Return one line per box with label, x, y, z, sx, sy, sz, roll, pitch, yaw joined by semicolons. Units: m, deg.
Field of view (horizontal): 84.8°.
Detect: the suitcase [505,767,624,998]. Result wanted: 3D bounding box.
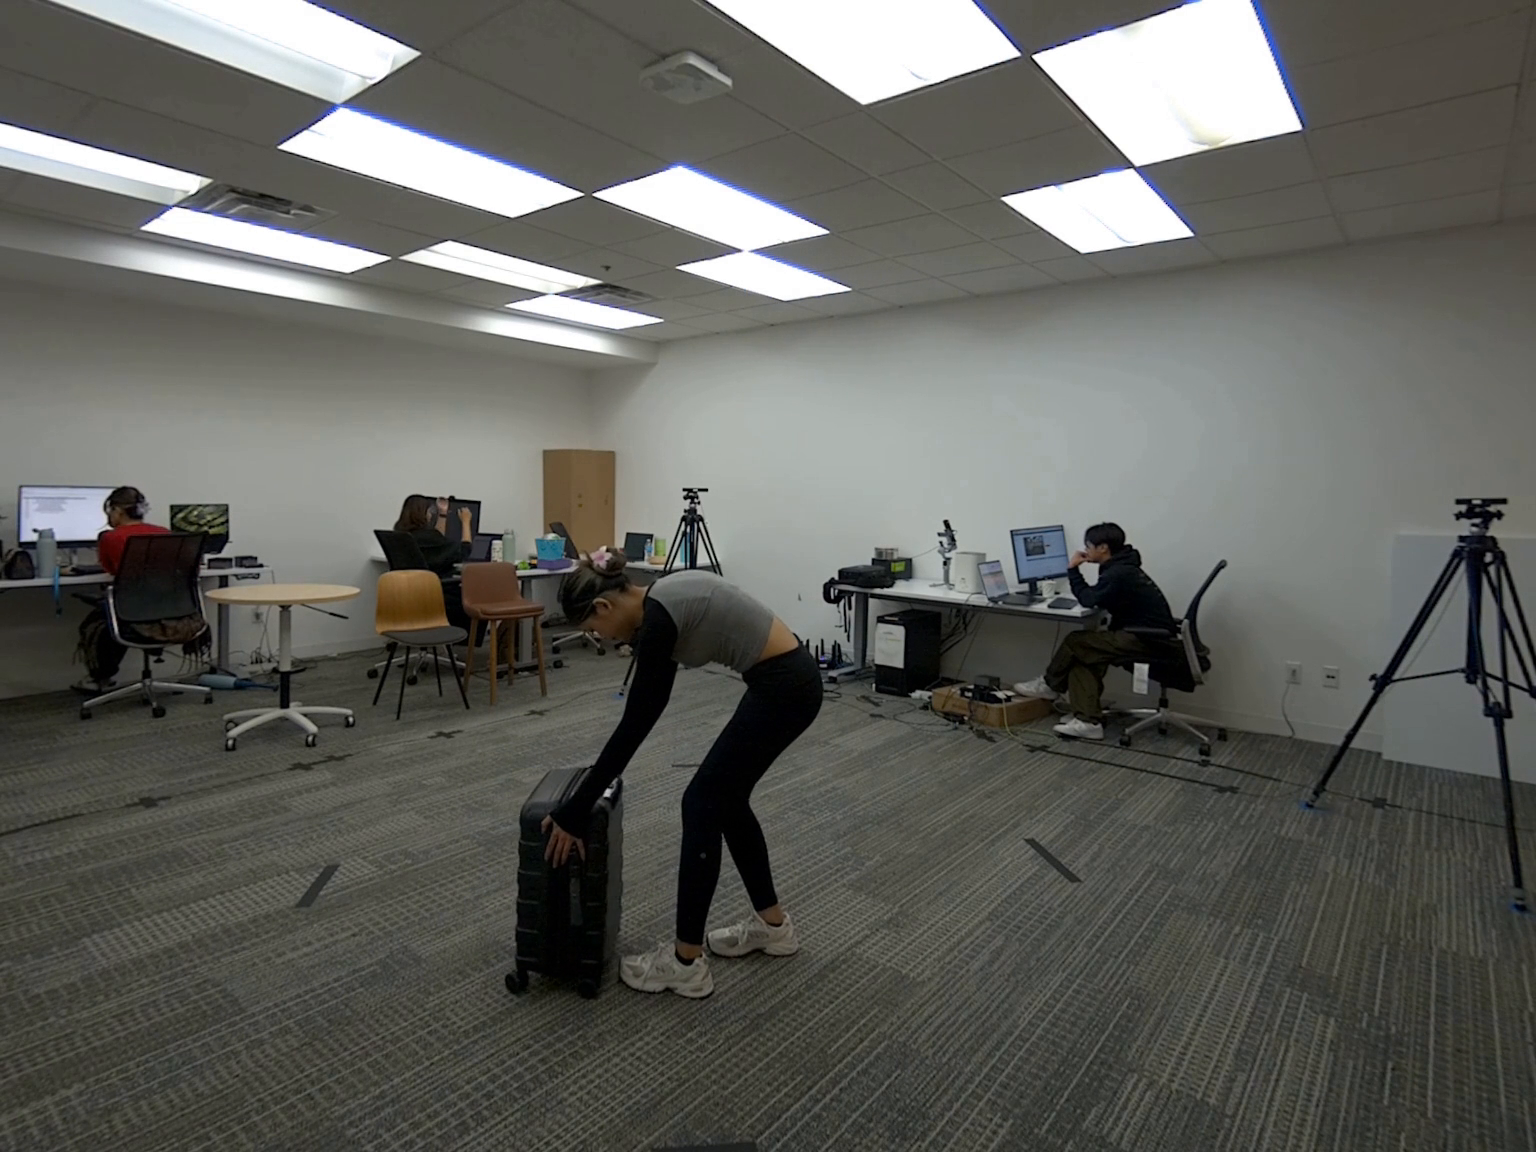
suitcase;-0.571;0.855;2.453;0.249;0.547;0.376;1;5;0
